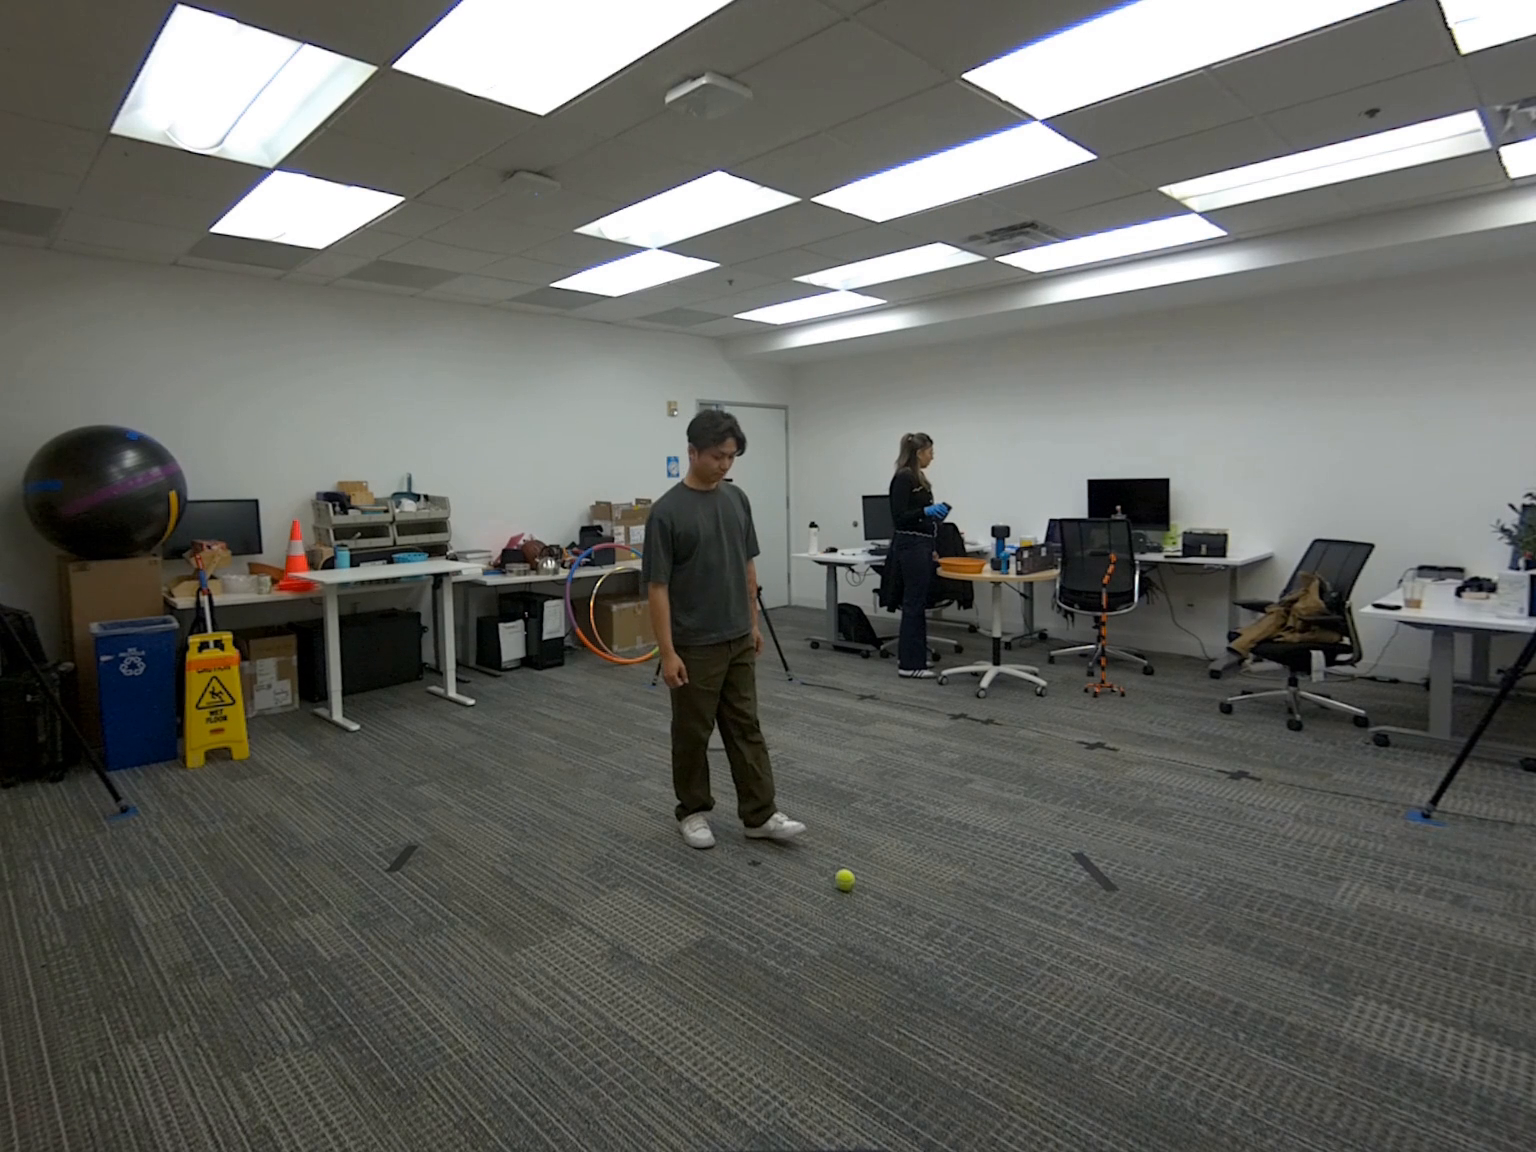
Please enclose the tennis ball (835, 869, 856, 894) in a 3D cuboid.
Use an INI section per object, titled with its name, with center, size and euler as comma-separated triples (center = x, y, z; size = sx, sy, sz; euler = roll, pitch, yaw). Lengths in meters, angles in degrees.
[tennis ball]
center = 0.273, 1.020, 2.894
size = 0.066, 0.066, 0.067
euler = -1, 5, -2
